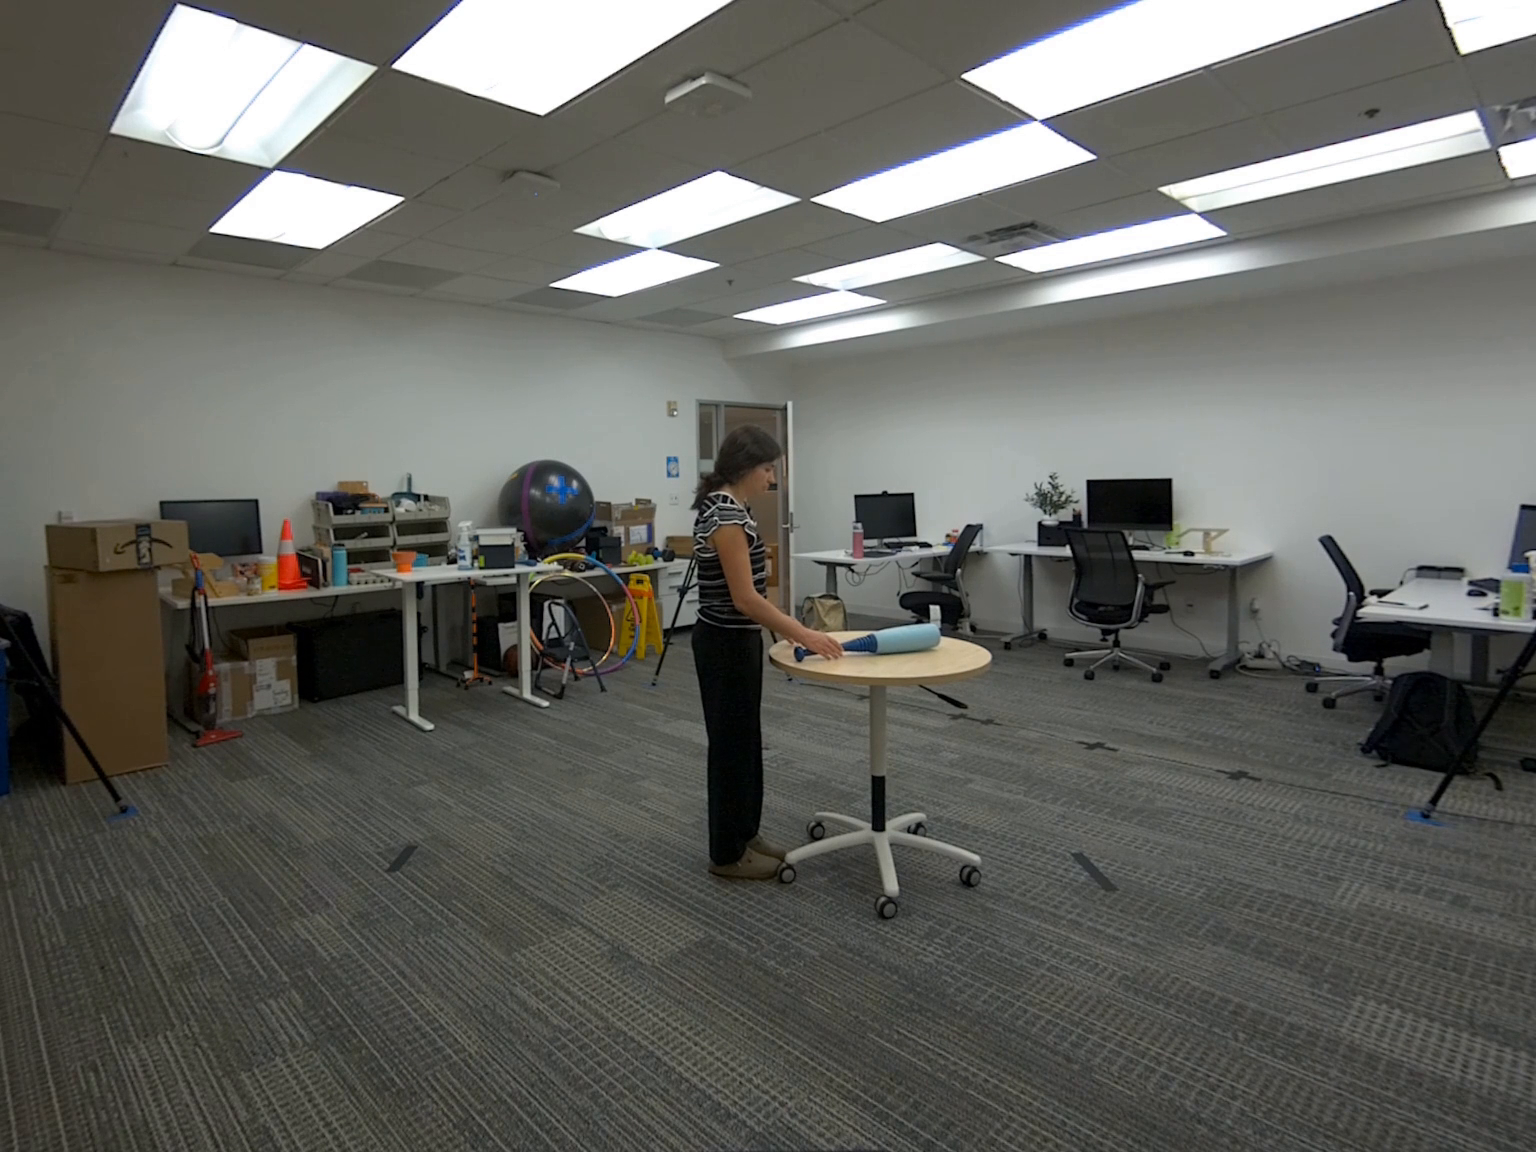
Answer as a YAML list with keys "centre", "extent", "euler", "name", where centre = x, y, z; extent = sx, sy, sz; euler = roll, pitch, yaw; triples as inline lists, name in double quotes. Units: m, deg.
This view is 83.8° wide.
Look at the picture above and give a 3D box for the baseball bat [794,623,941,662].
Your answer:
- centre: [0.348, 0.237, 2.938]
  extent: [0.534, 0.088, 0.091]
  euler: [-6, 6, -20]
  name: "baseball bat"
